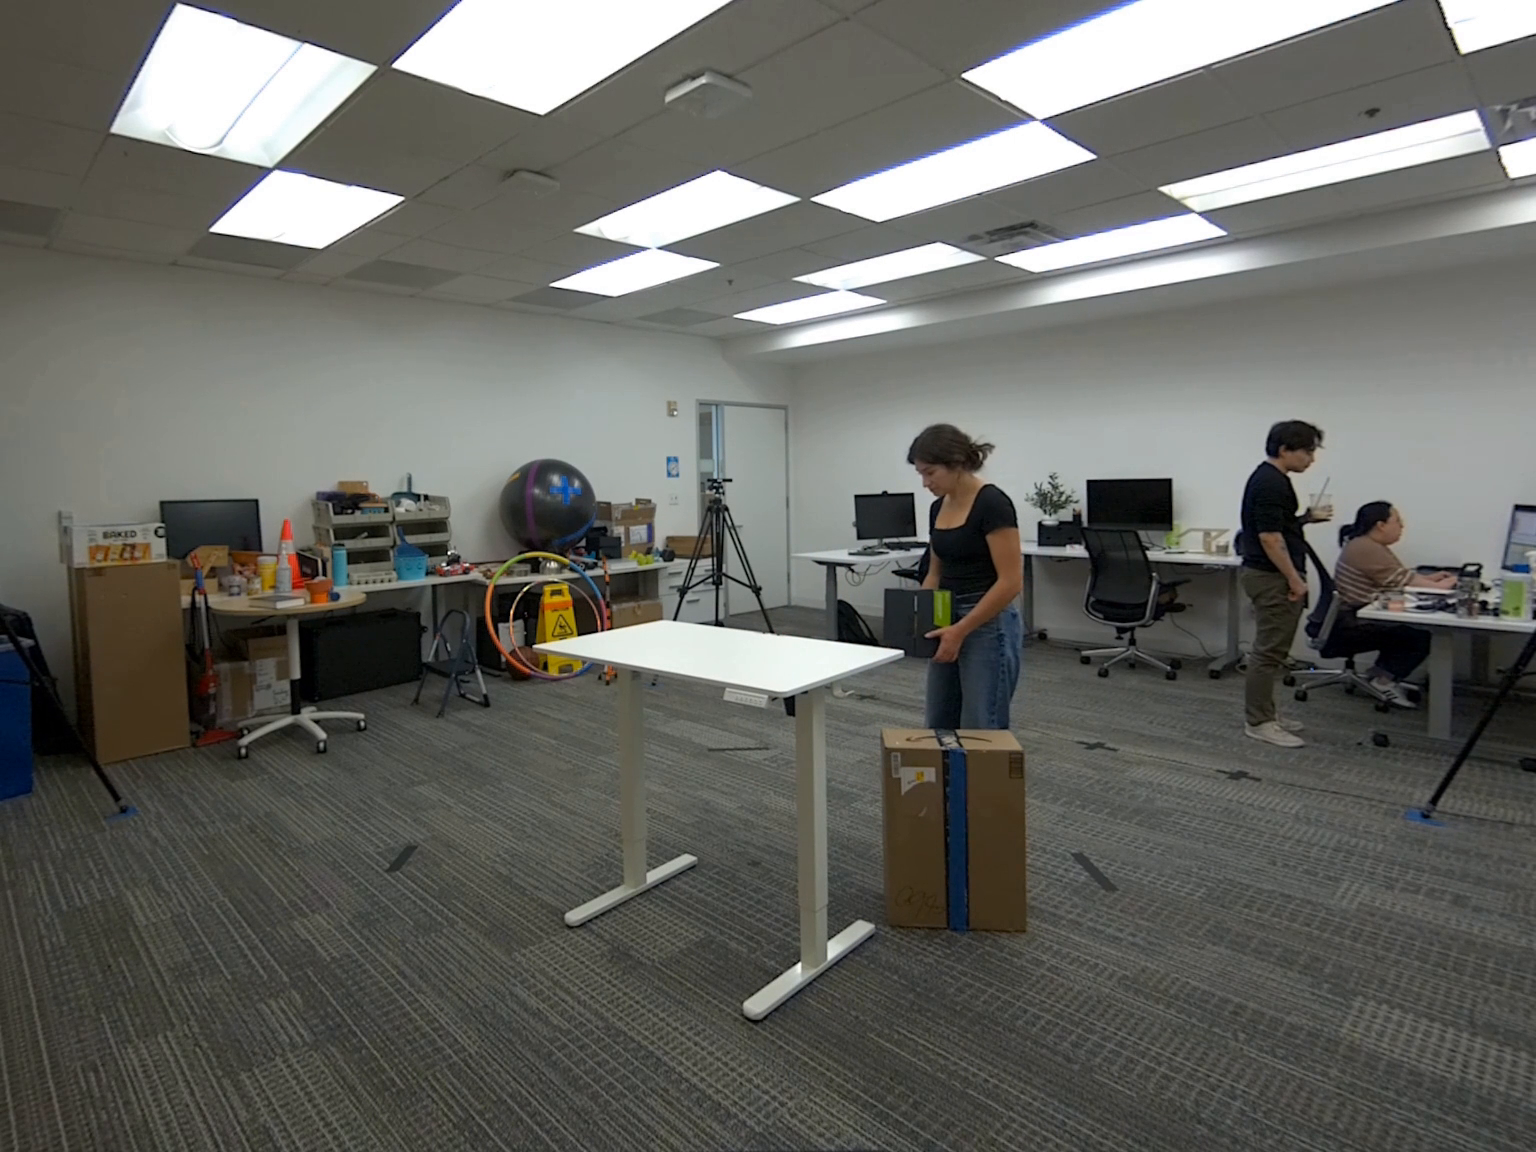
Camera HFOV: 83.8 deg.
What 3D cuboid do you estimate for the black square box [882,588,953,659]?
[{"bbox_3d":[0.533,0.157,2.952,0.154,0.228,0.220,2,-1,-15],"label":"black square box"}]
